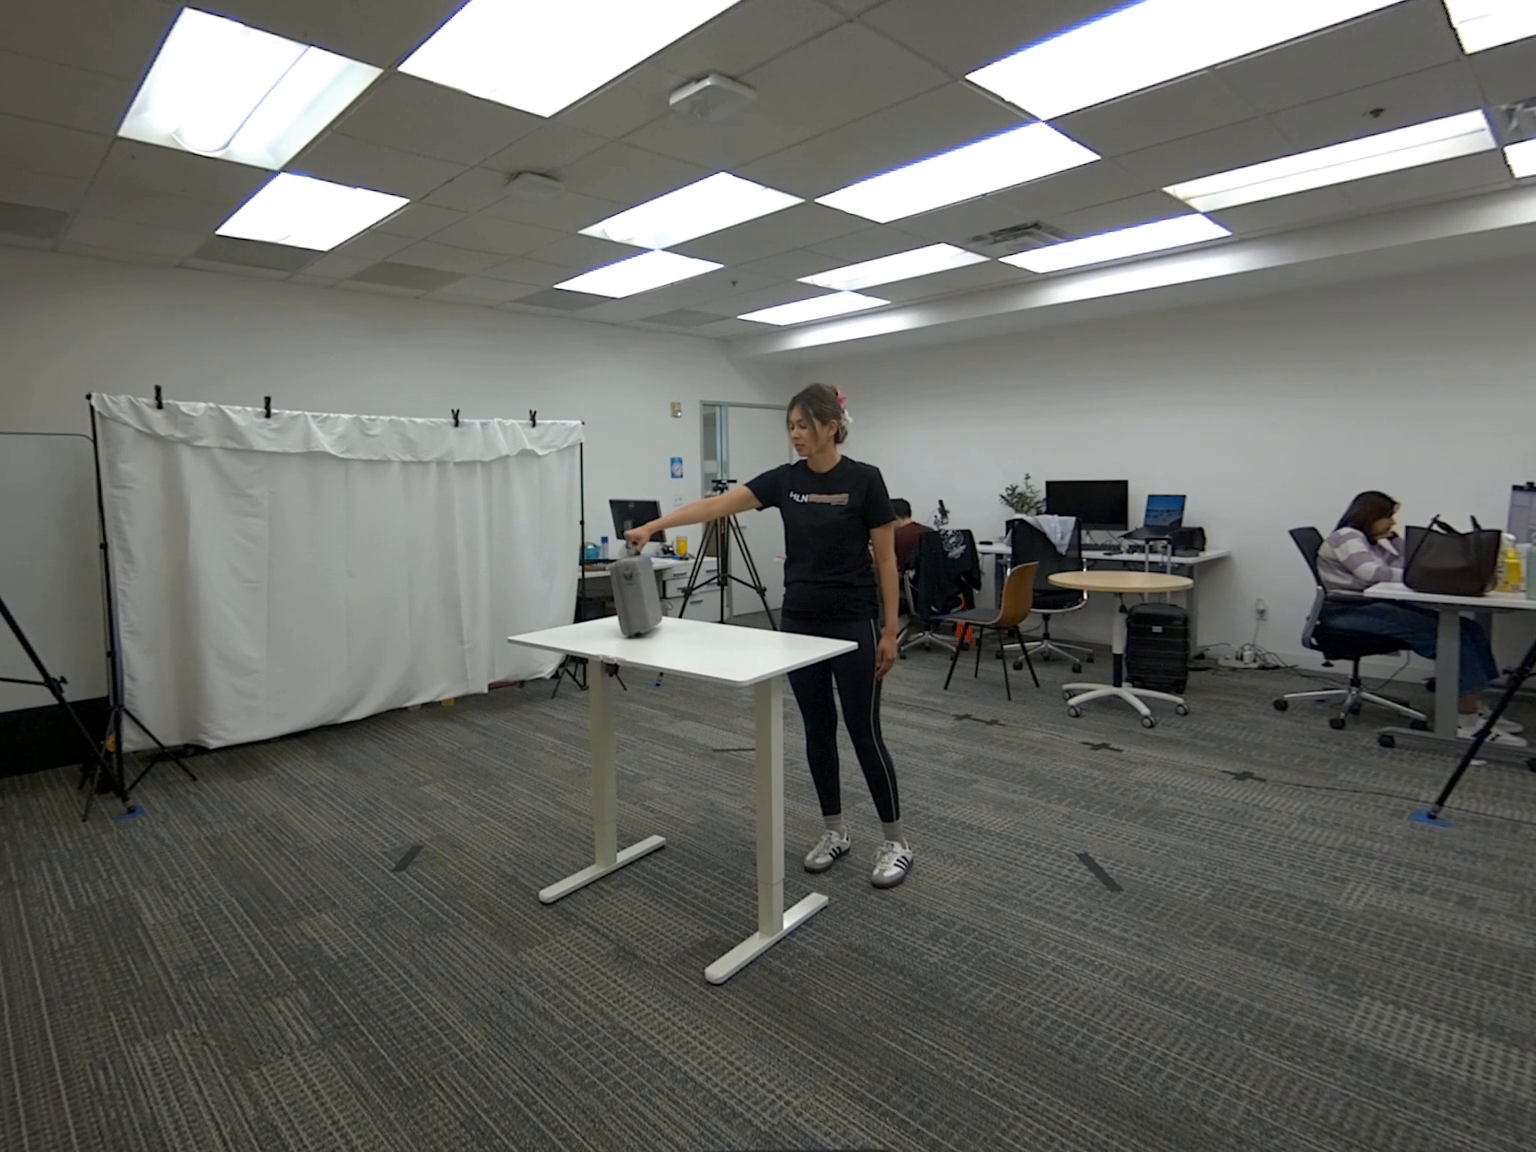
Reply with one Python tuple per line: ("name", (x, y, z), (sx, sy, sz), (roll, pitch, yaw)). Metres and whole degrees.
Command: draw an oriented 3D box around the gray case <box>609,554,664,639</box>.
("gray case", (-0.443, 0.060, 2.907), (0.105, 0.259, 0.257), (-10, 5, 5))
